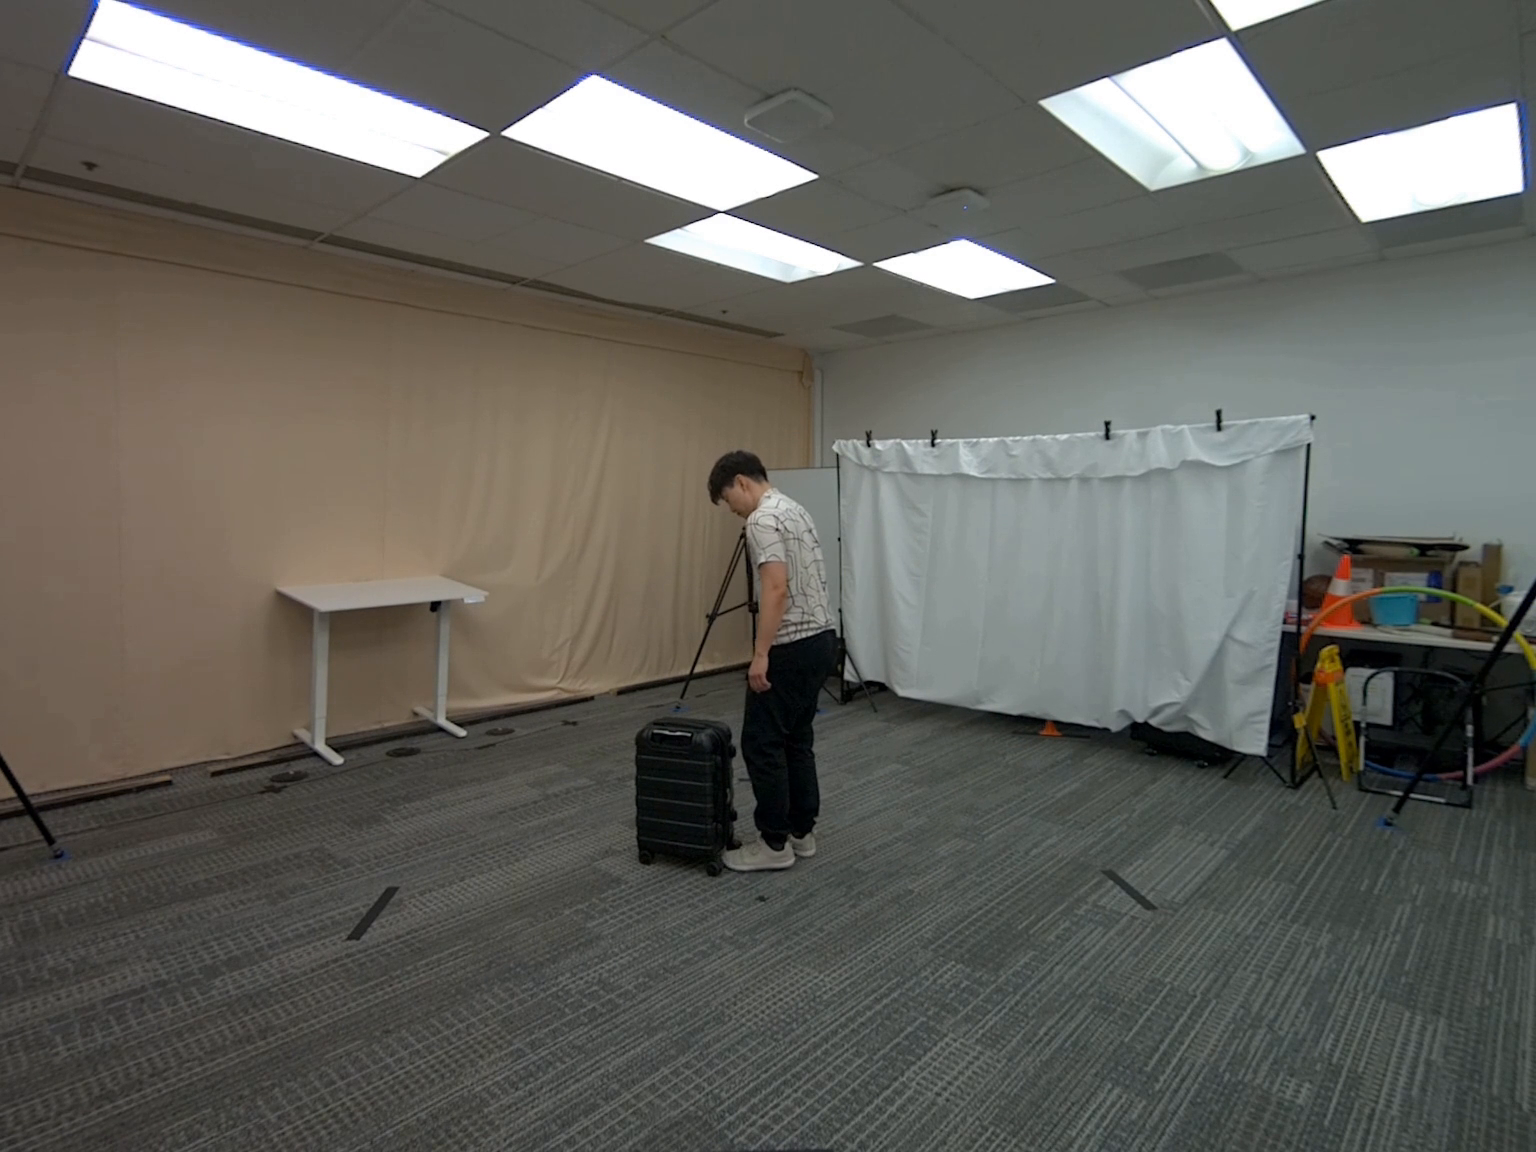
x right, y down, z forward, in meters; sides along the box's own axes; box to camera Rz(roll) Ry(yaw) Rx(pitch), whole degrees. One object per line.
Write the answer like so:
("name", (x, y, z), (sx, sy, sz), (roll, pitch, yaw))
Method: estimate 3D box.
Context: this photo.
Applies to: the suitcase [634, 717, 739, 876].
("suitcase", (-0.330, 0.845, 3.326), (0.383, 0.549, 0.243), (-1, 2, 21))
